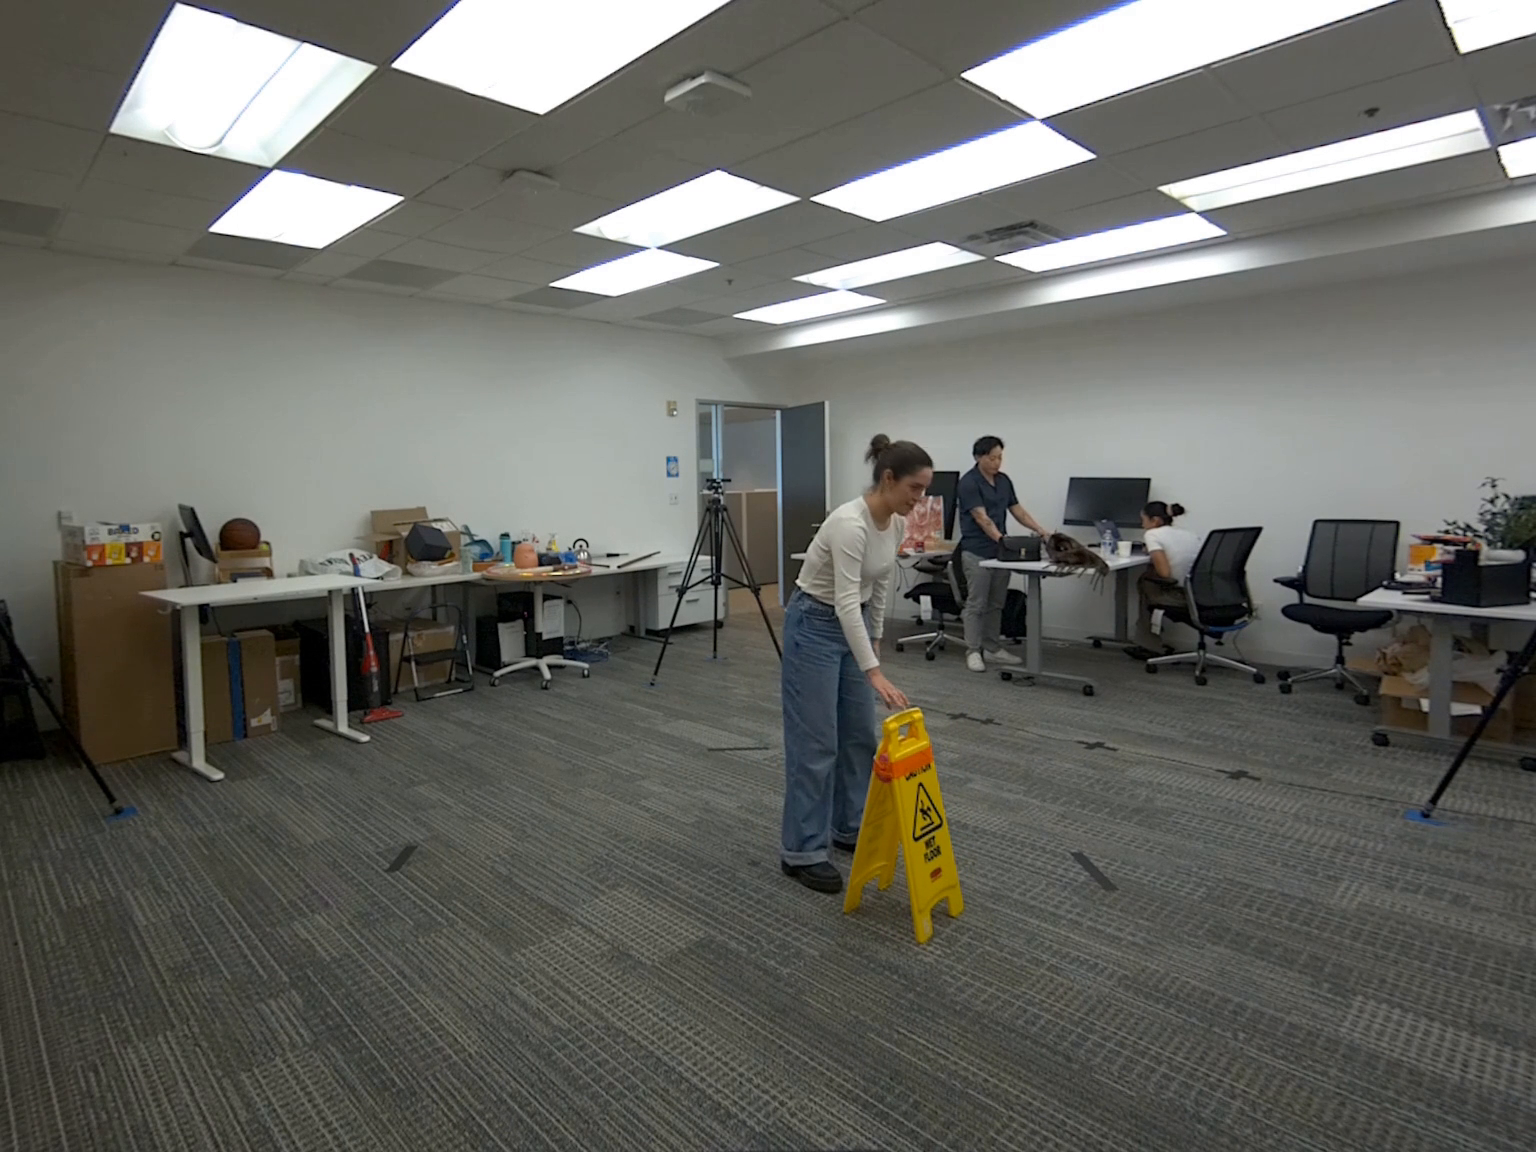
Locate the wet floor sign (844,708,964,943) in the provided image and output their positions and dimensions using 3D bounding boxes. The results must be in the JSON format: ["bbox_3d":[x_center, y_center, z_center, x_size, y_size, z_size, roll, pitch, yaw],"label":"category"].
[{"bbox_3d":[0.429,0.759,2.723,0.298,0.644,0.275,2,4,42],"label":"wet floor sign"}]
